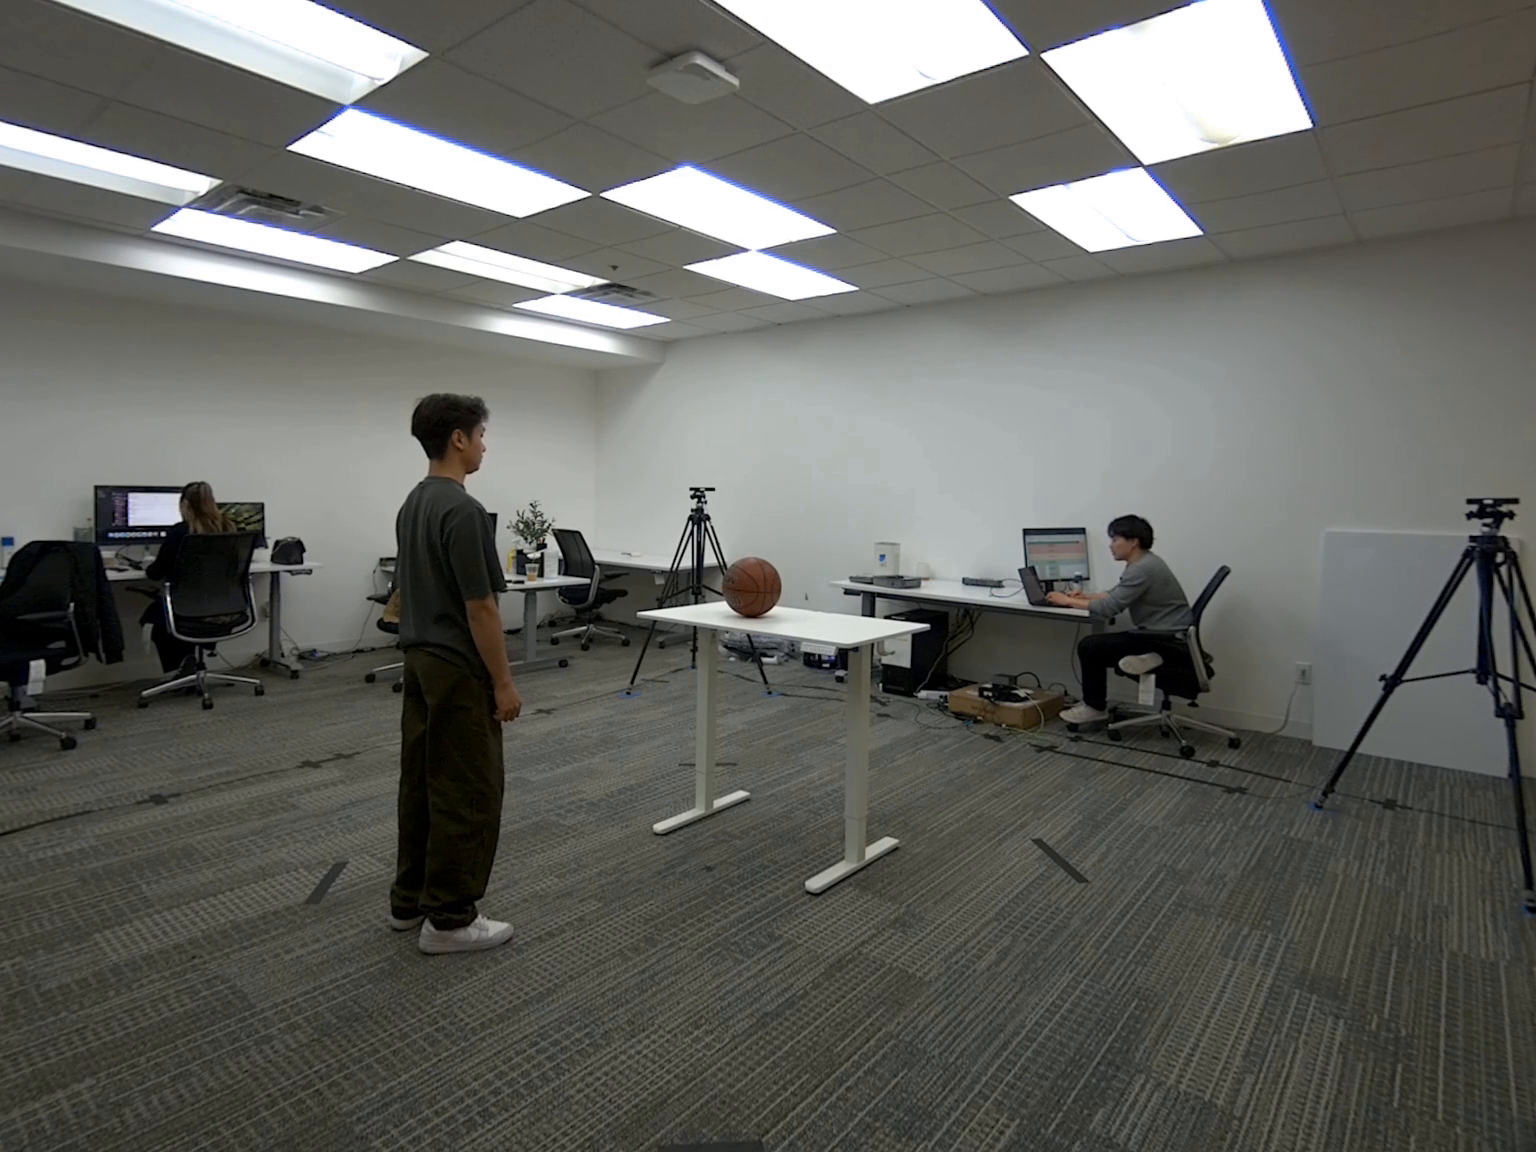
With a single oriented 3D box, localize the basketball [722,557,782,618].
[{"bbox_3d":[-0.073,0.040,3.402,0.235,0.235,0.237,1,4,-2],"label":"basketball"}]
